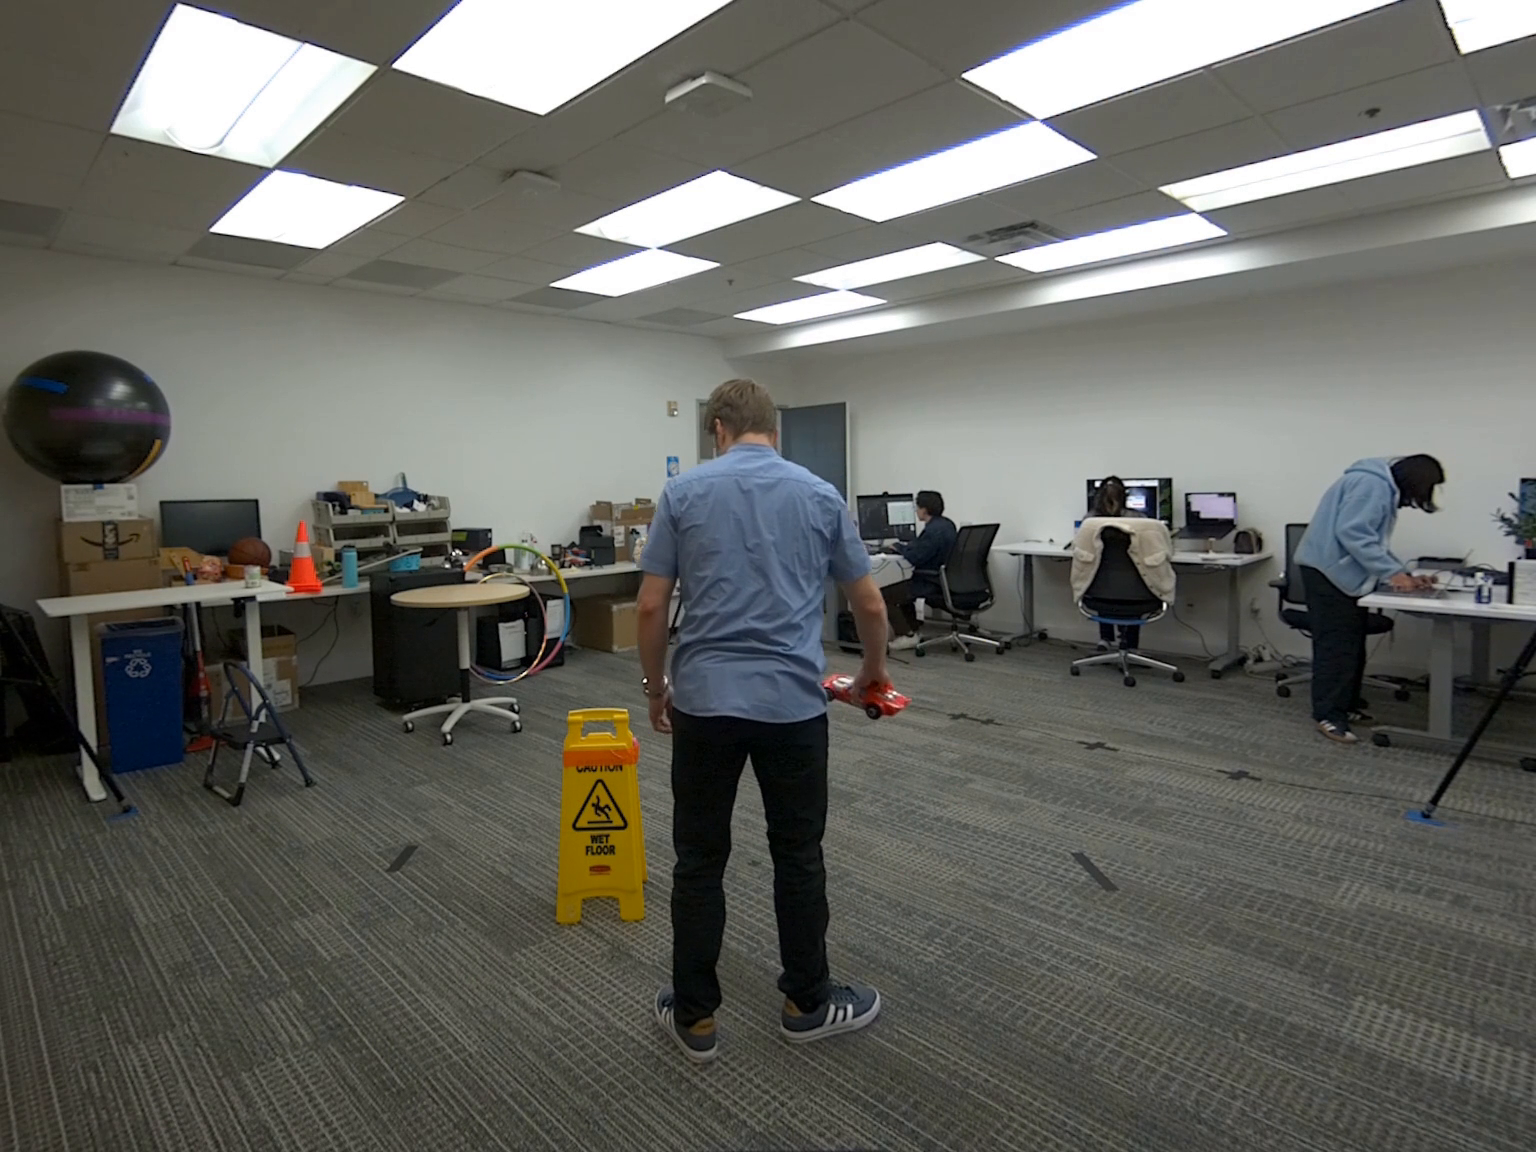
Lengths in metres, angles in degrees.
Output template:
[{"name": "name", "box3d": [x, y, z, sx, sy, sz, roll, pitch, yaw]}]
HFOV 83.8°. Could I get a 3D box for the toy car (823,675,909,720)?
[{"name": "toy car", "box3d": [0.285, 0.350, 2.430, 0.262, 0.082, 0.128, 5, 13, 35]}]
